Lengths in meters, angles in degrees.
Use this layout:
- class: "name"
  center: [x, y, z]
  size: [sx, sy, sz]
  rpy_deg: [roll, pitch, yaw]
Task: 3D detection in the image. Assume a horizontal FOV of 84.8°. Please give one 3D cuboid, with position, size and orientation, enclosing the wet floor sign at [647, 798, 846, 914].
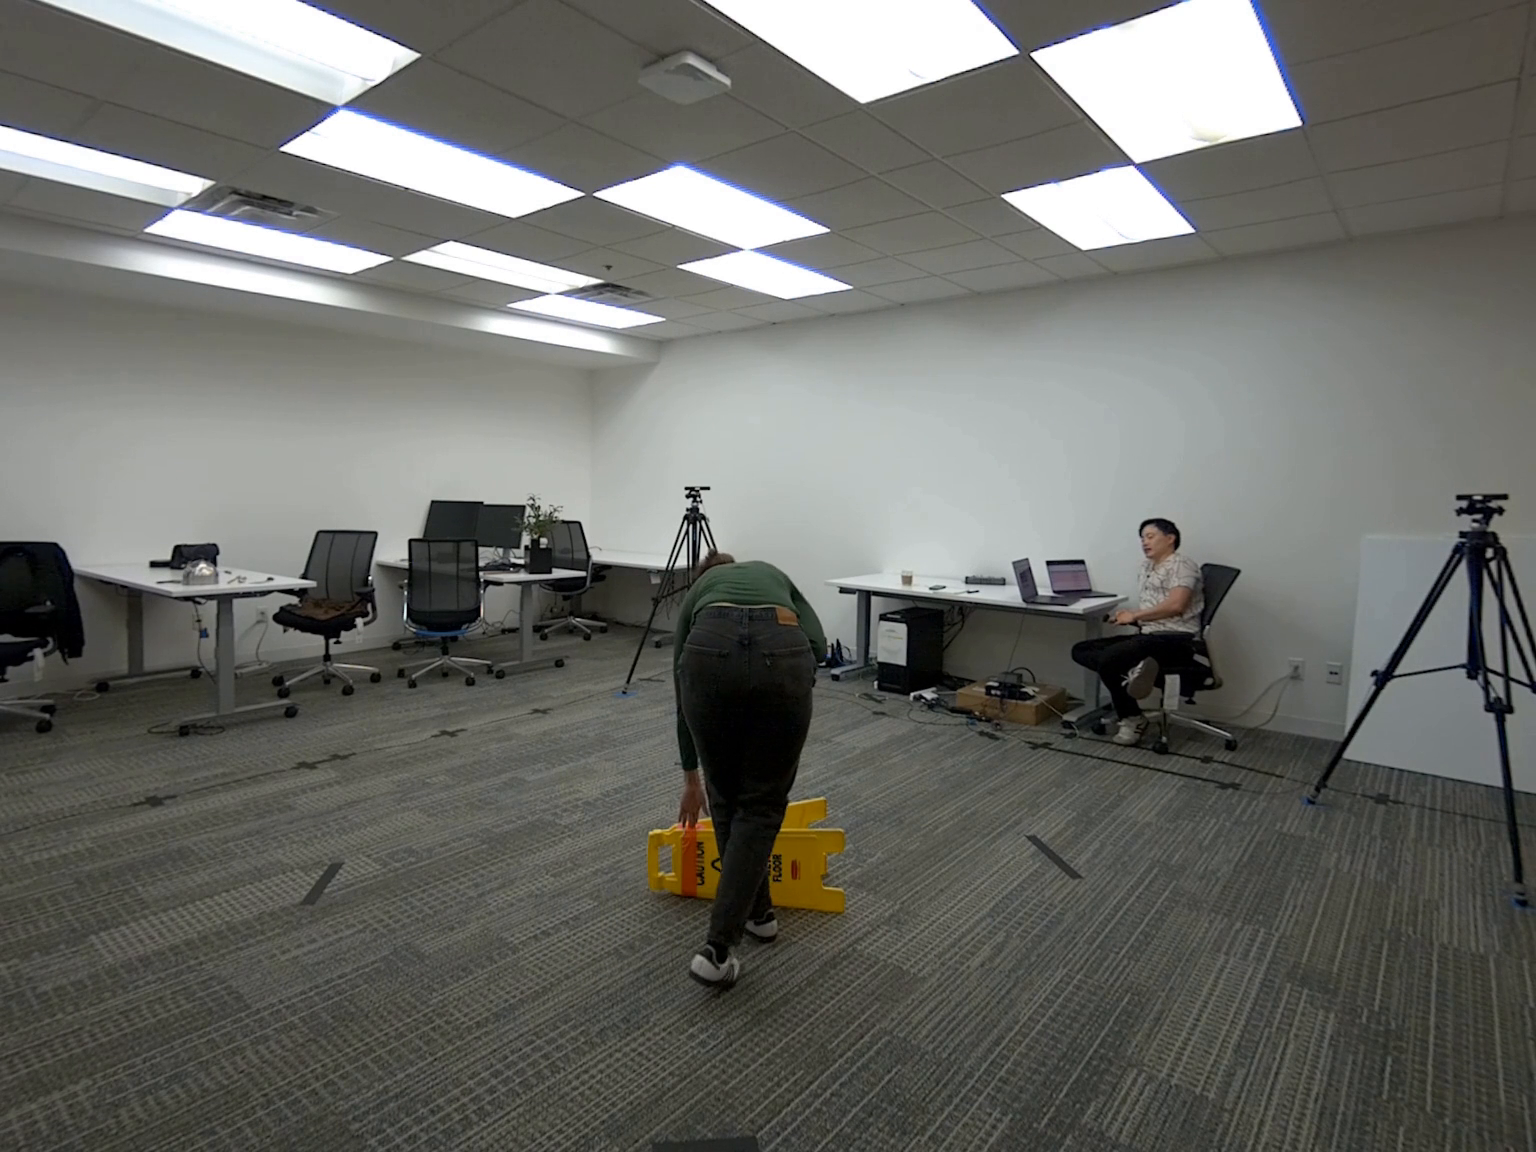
- class: "wet floor sign"
  center: [-0.102, 0.953, 2.909]
  size: [0.643, 0.281, 0.292]
  rpy_deg: [-2, 5, -5]
